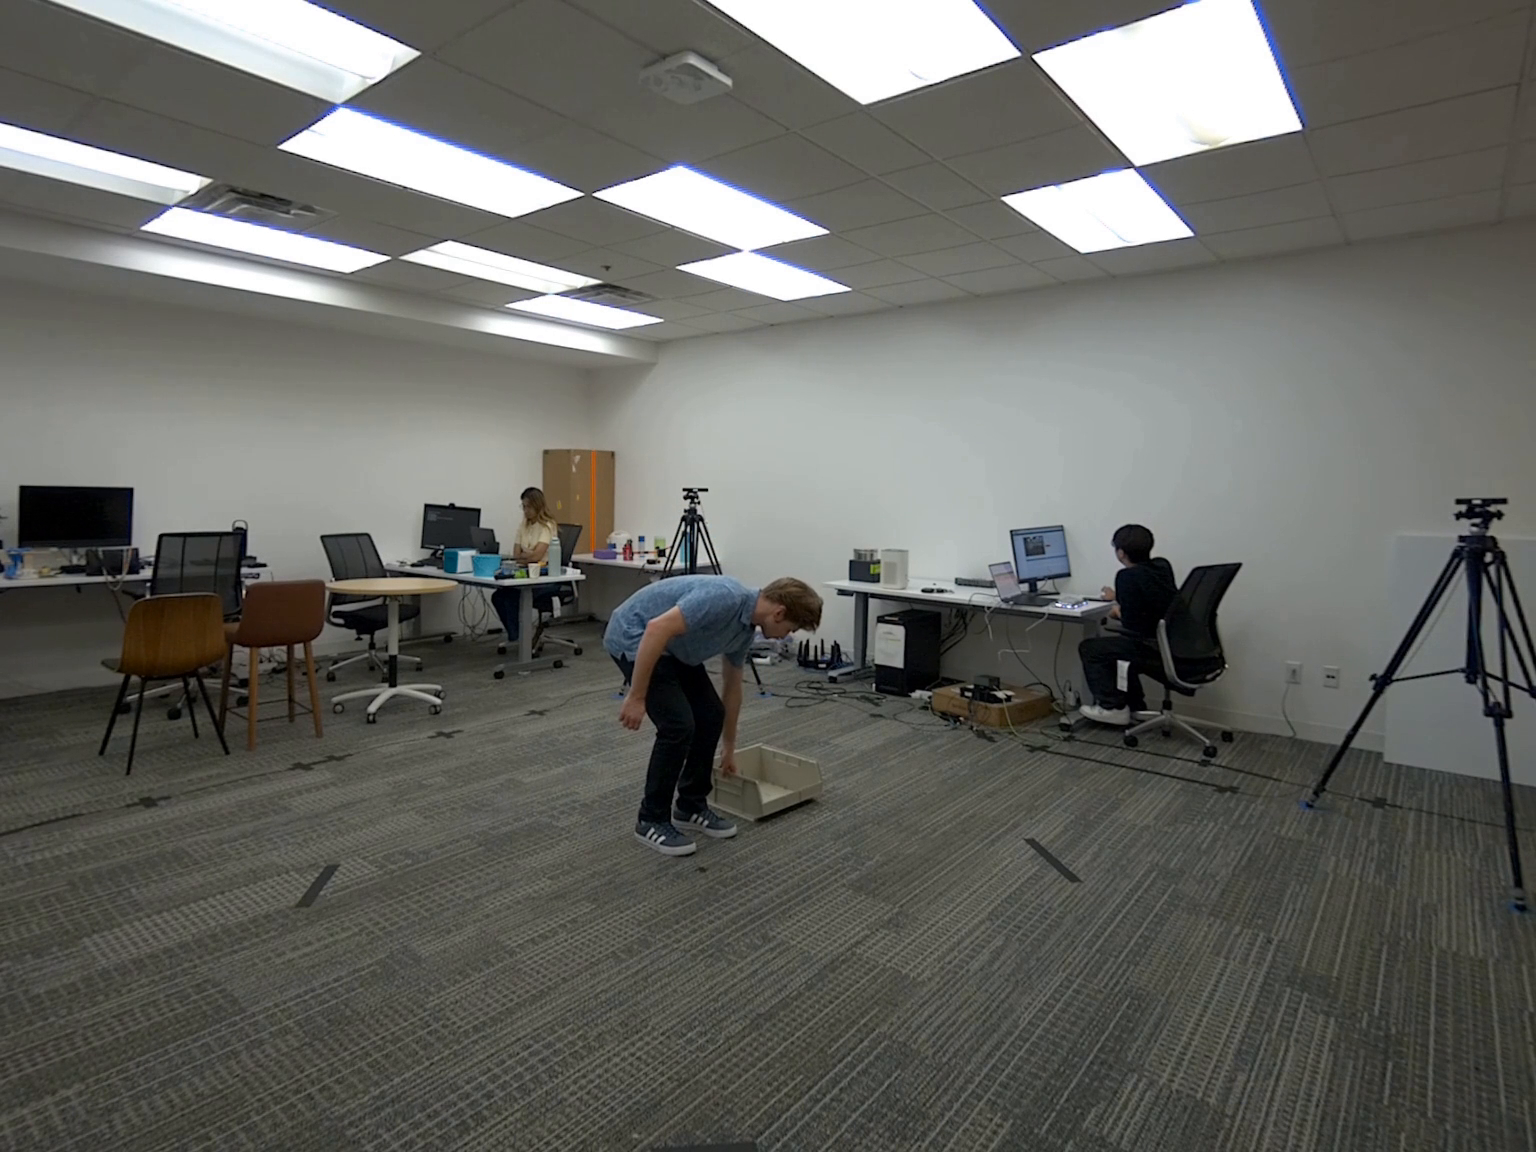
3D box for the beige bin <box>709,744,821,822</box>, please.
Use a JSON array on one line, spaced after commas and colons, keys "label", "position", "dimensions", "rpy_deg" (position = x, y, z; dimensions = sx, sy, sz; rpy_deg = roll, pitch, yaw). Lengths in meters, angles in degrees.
[{"label": "beige bin", "position": [-0.037, 0.914, 3.798], "dimensions": [0.390, 0.188, 0.410], "rpy_deg": [4, 6, 42]}]
